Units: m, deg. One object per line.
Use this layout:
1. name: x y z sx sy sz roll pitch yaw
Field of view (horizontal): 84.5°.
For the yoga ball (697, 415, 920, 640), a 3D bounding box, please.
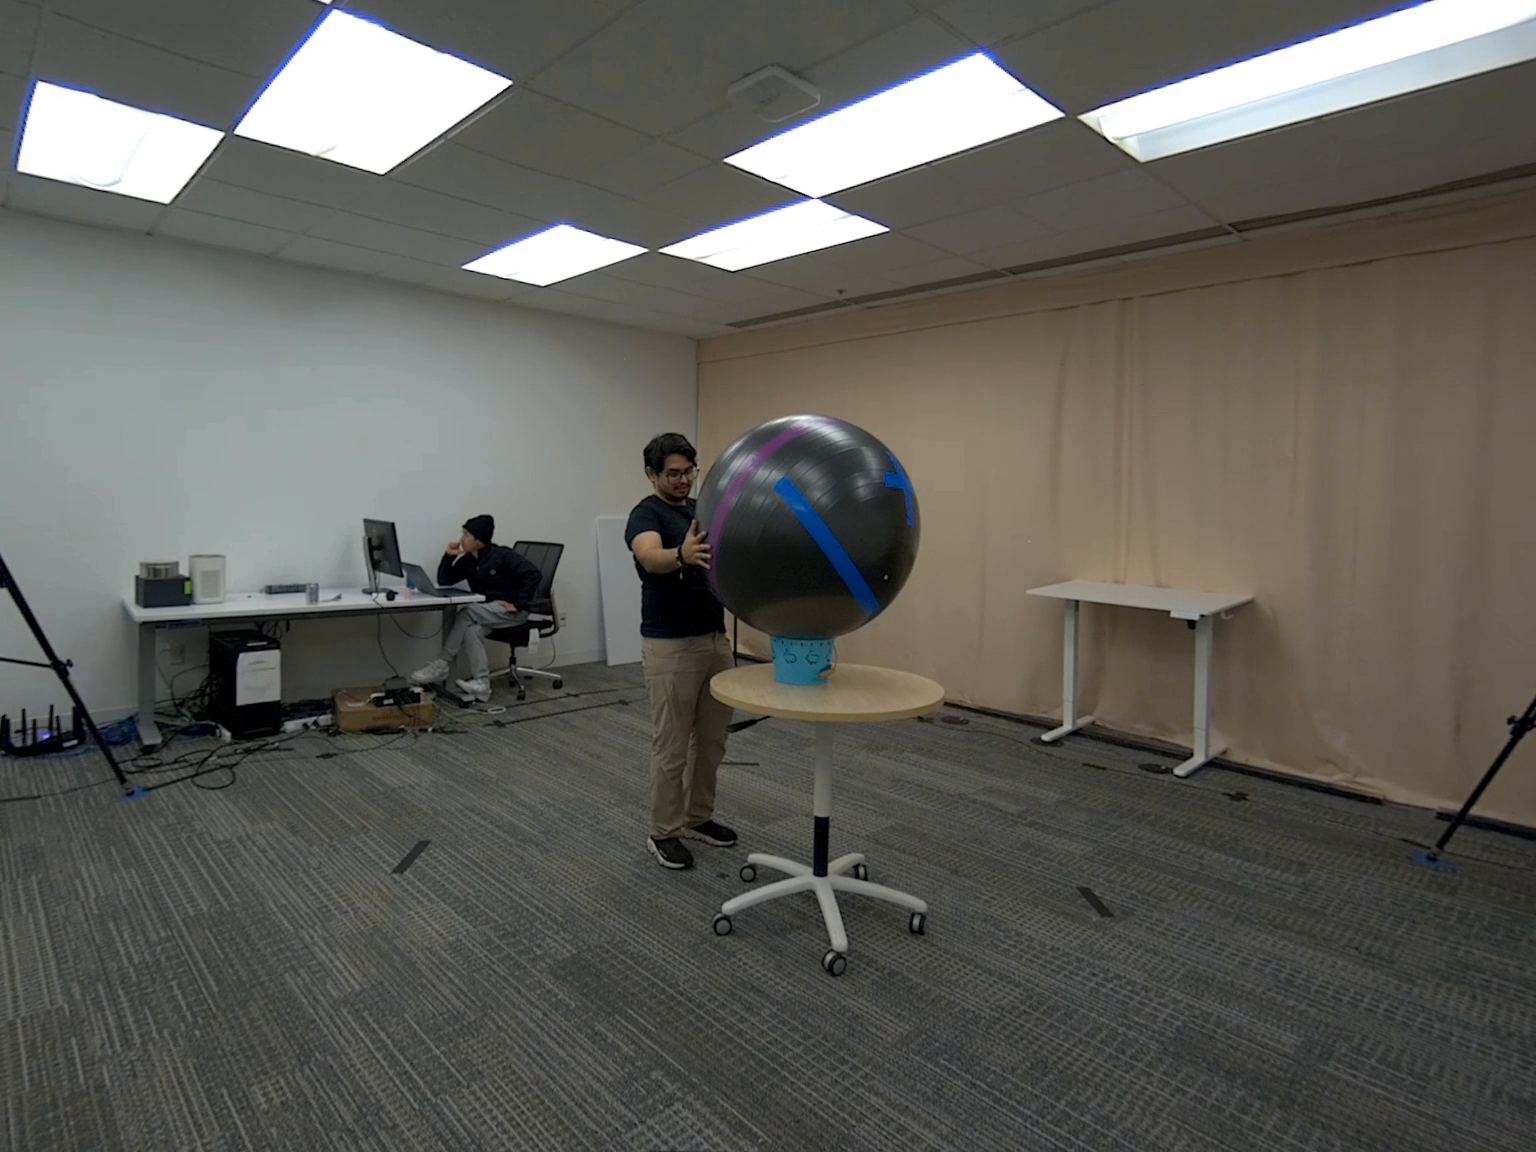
1. yoga ball: 0.123 -0.155 2.836 0.757 0.756 0.761 1 4 -1
